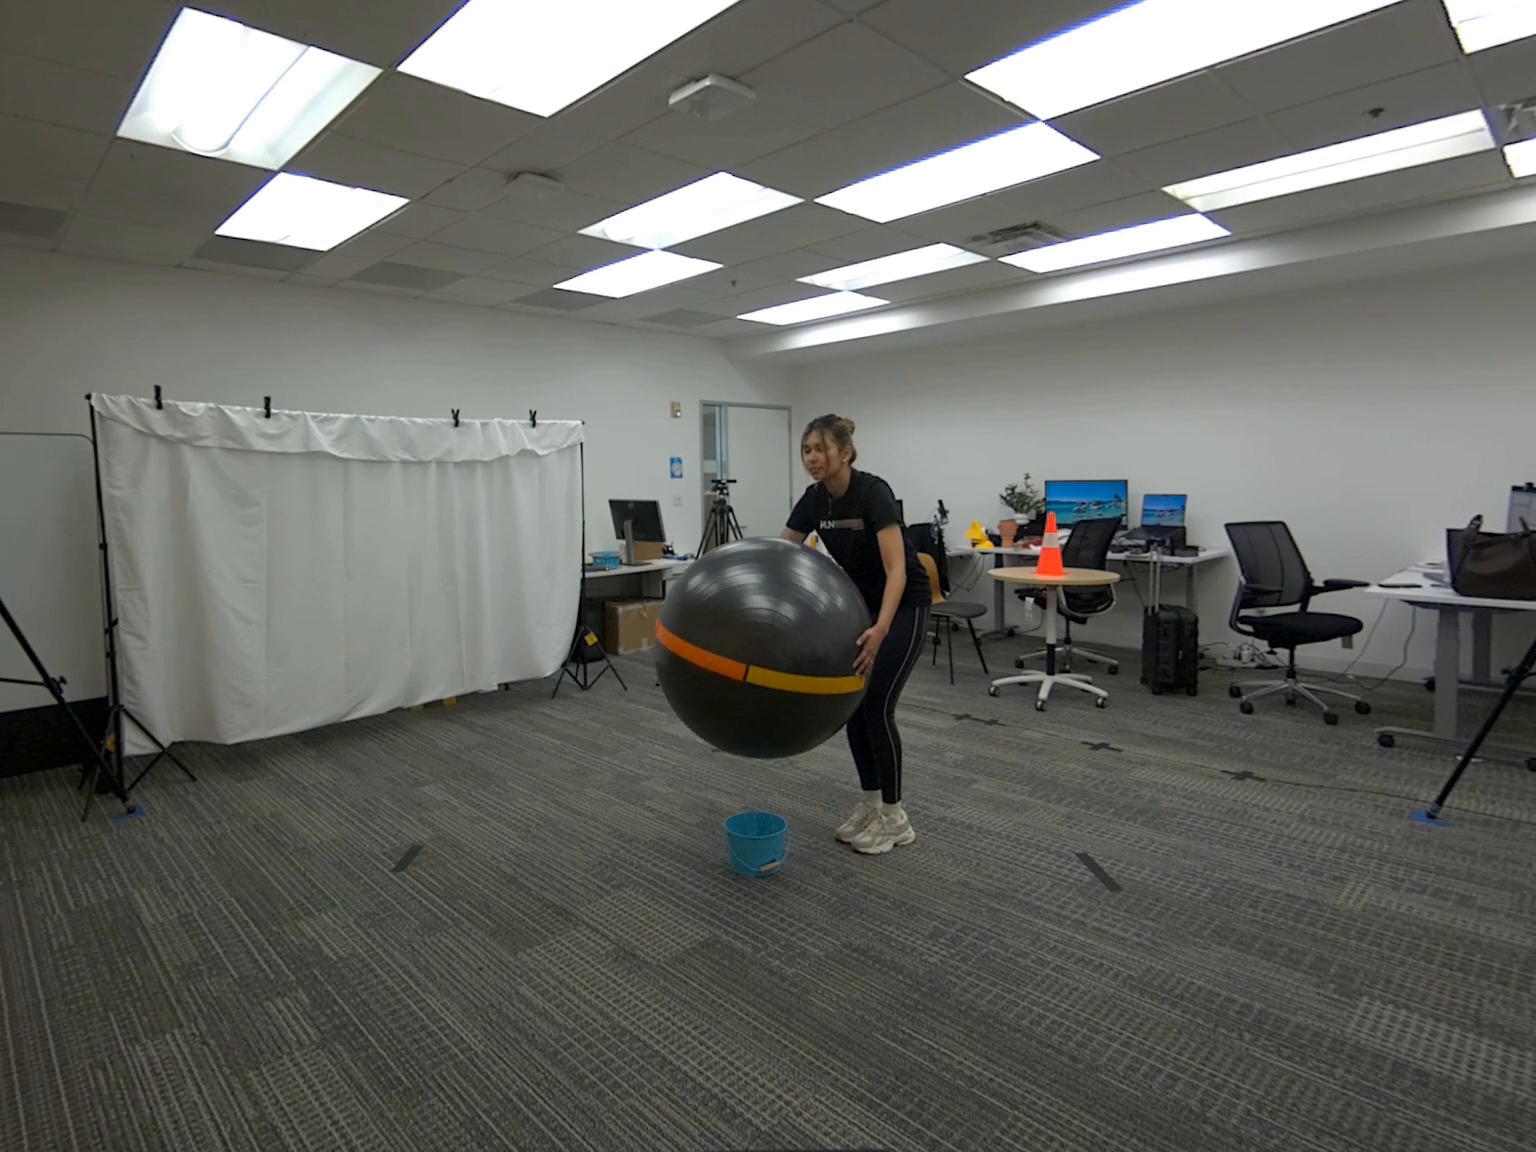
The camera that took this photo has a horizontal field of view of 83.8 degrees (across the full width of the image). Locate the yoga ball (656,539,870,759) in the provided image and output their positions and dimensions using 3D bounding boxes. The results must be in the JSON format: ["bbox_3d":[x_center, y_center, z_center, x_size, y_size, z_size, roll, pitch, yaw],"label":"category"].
[{"bbox_3d":[-0.013,0.246,2.951,0.757,0.755,0.762,-1,5,-2],"label":"yoga ball"}]
